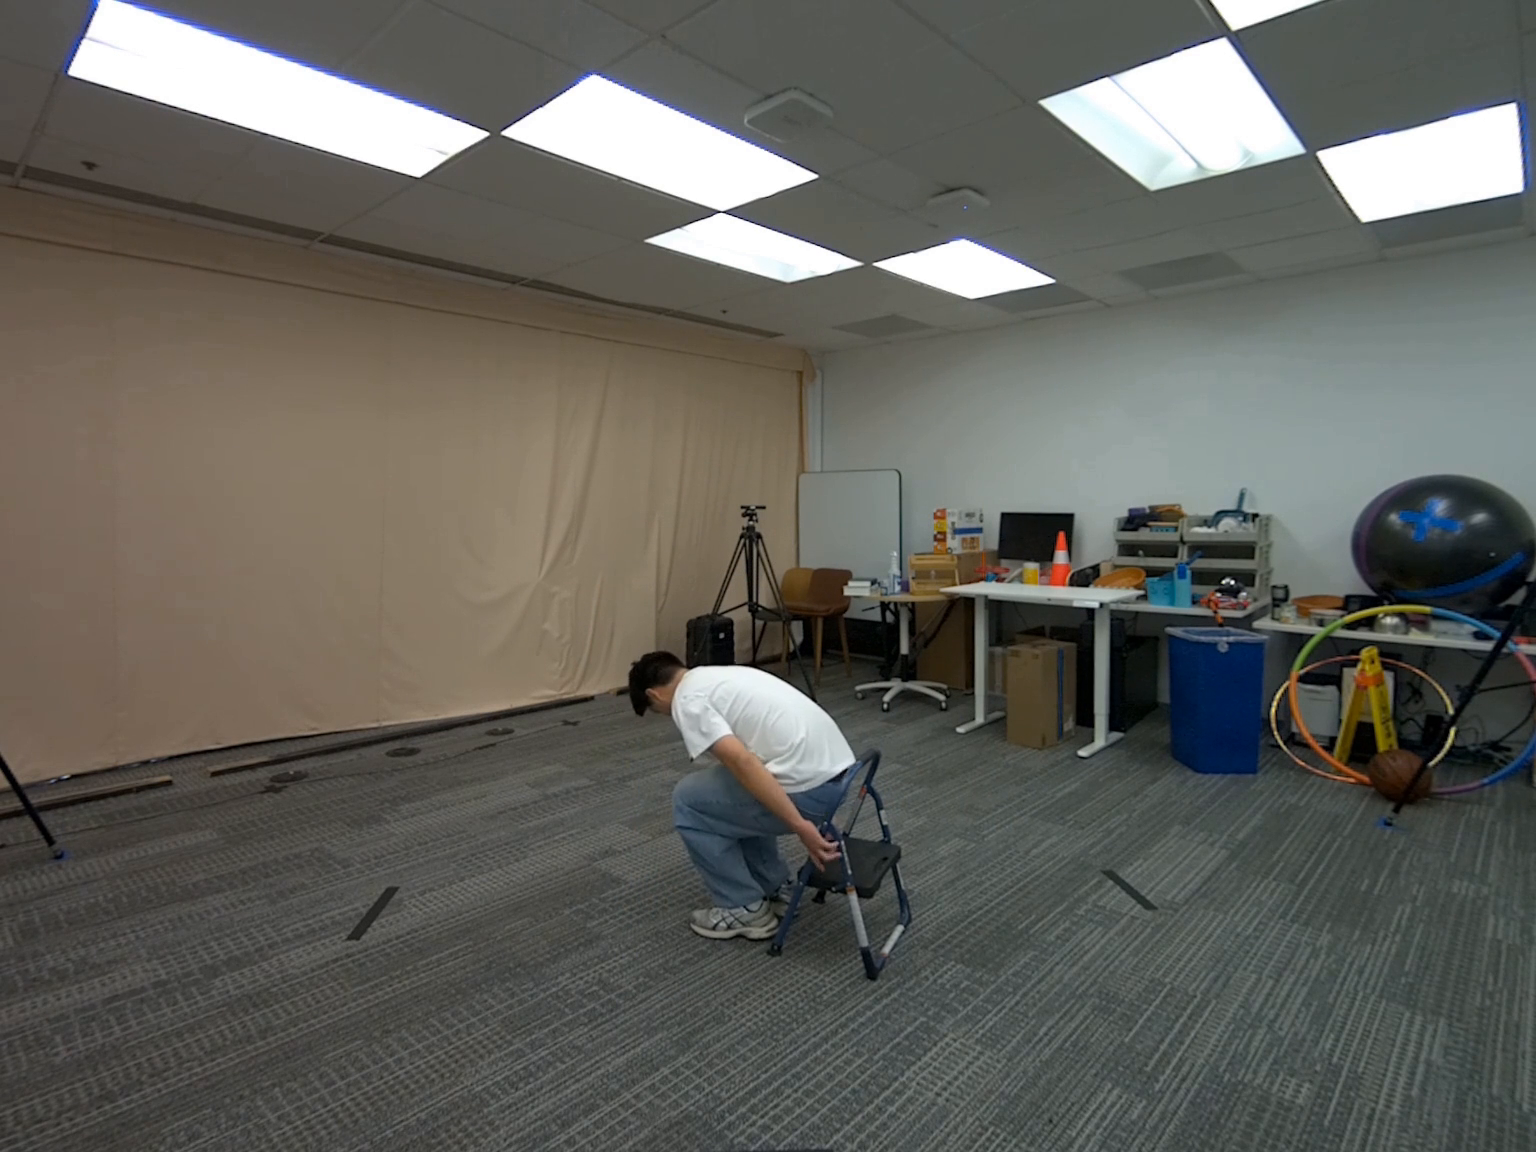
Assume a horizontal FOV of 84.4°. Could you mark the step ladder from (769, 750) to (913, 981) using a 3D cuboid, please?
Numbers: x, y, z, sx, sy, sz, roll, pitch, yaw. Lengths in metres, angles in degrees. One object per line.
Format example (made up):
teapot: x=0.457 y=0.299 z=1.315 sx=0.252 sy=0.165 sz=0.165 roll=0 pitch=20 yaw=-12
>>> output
step ladder: x=0.249 y=0.863 z=2.698 sx=0.358 sy=0.604 sz=0.420 roll=2 pitch=4 yaw=25
